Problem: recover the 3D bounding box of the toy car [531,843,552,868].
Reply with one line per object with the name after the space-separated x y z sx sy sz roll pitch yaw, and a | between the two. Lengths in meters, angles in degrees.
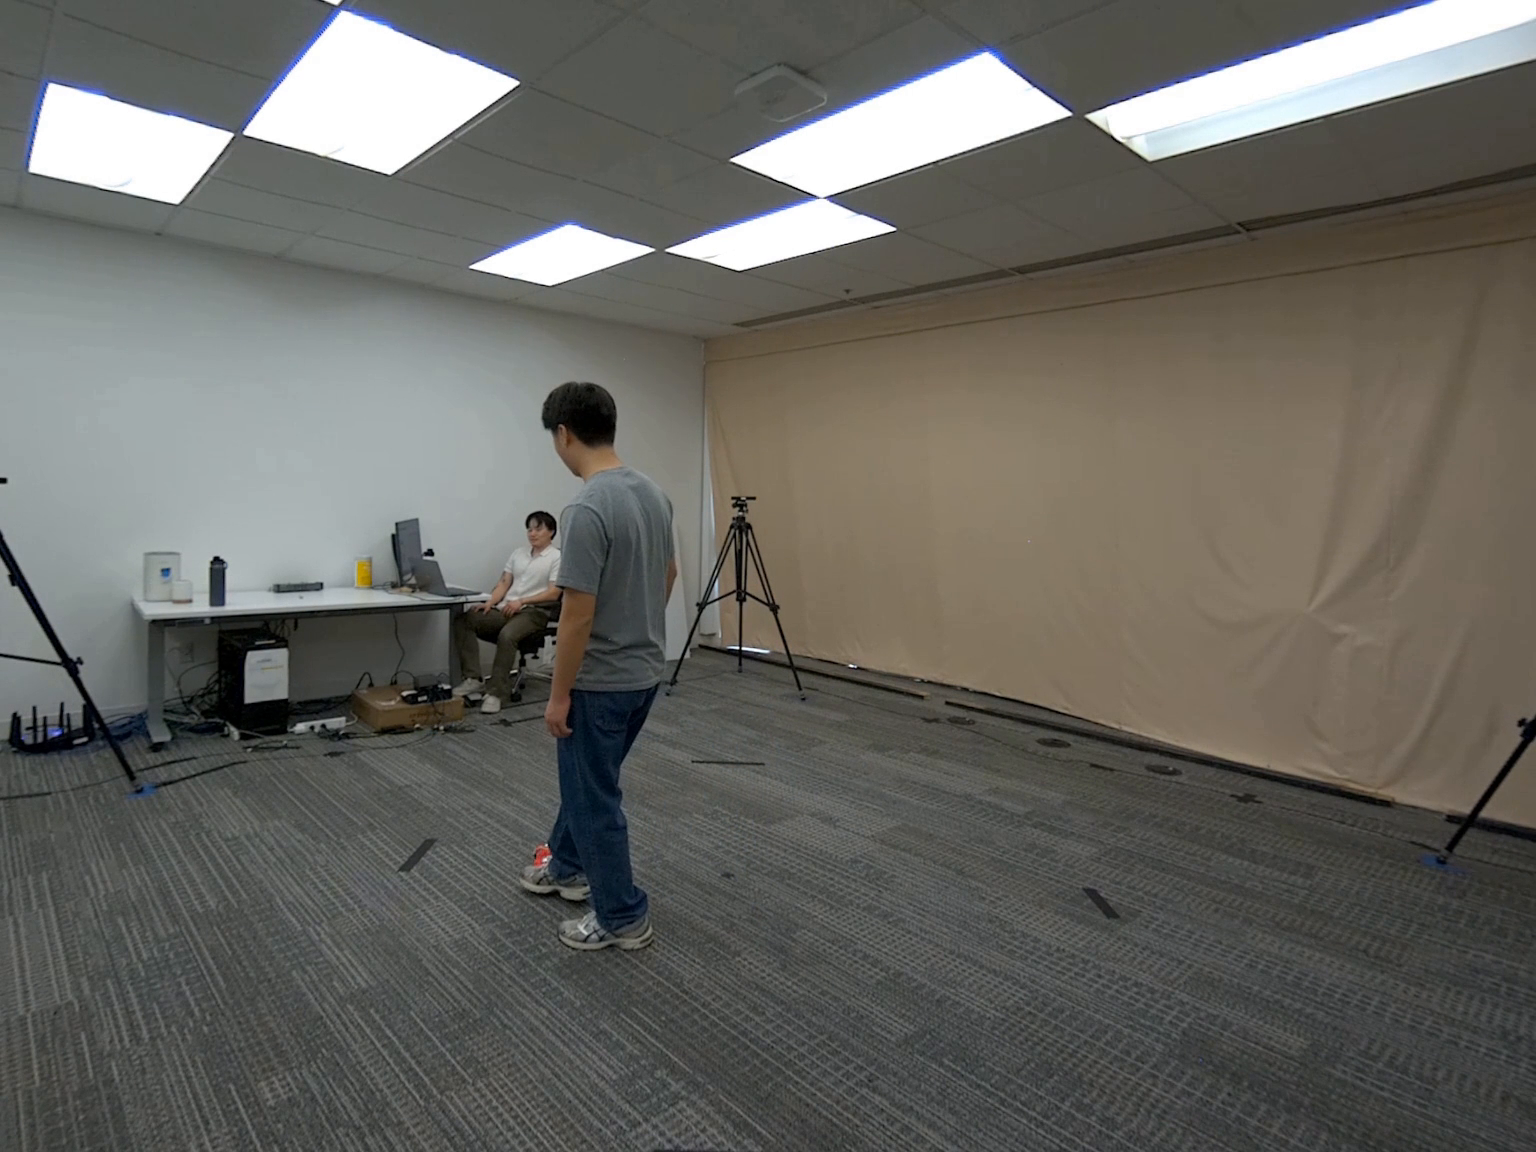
-0.820 1.059 3.121 0.129 0.083 0.255 1 -5 -10 | toy car
